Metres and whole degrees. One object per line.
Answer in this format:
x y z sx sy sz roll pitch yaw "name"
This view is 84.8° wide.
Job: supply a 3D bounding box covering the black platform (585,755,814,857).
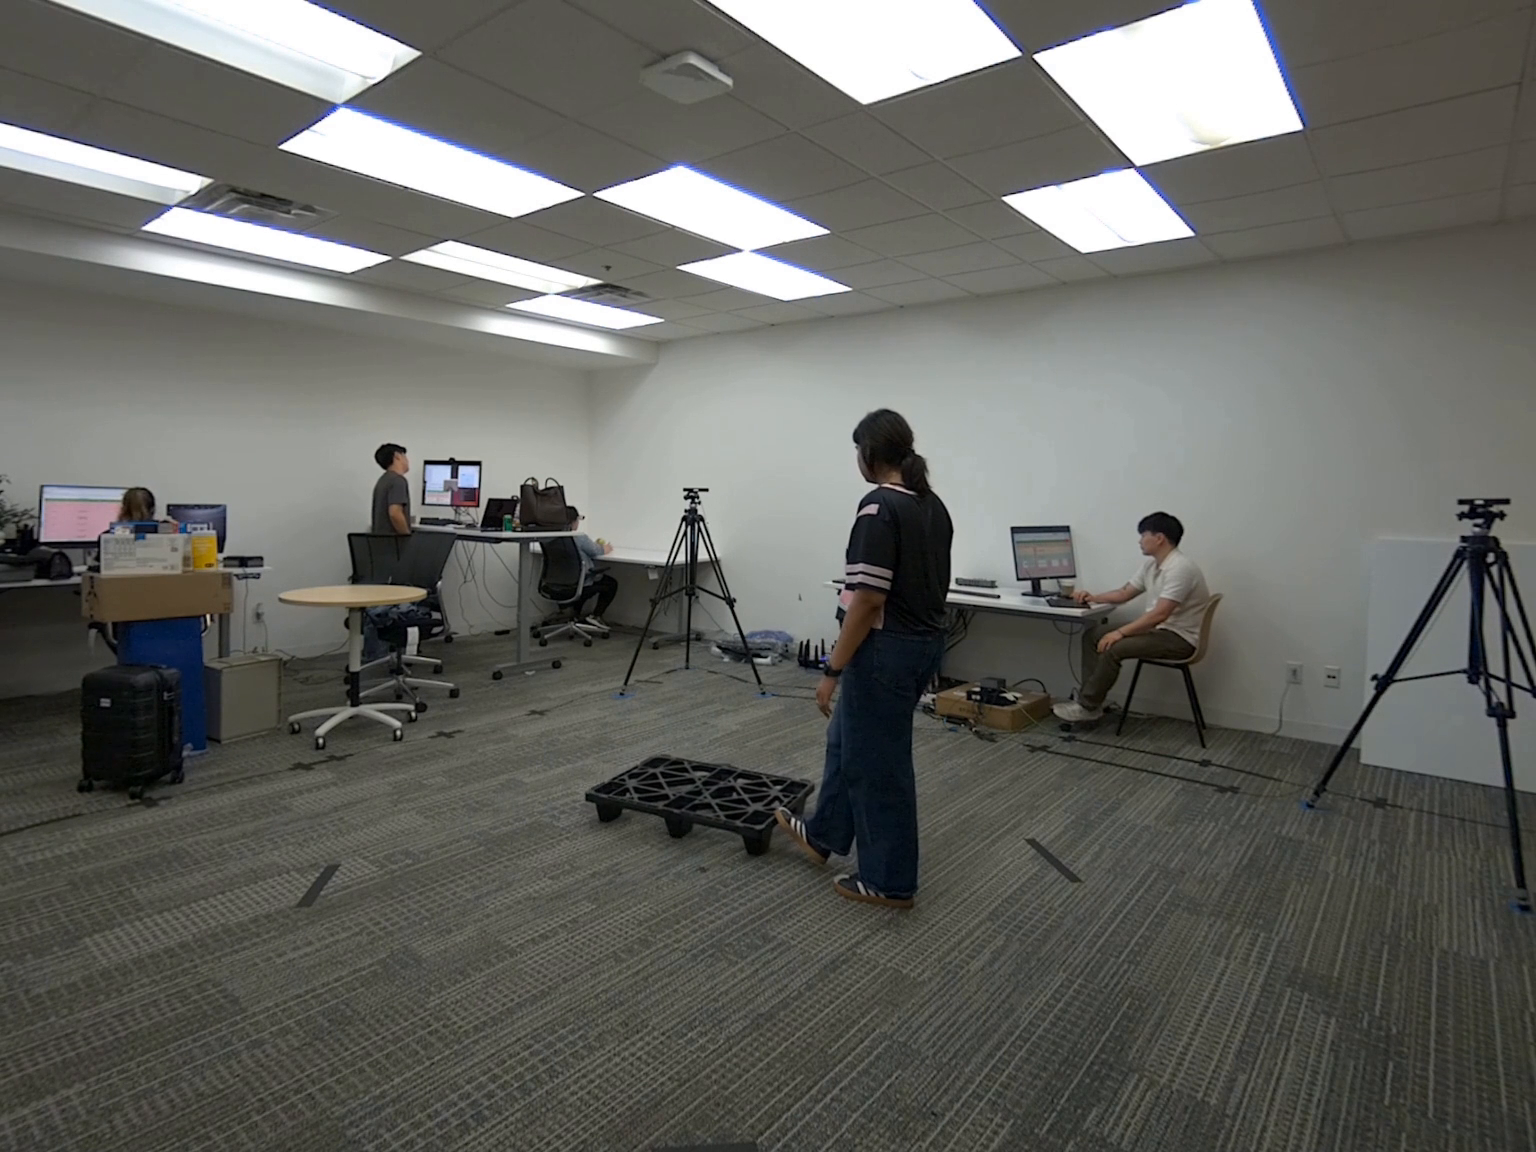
-0.286 0.953 3.587 0.827 0.143 0.592 3 6 25 "black platform"
